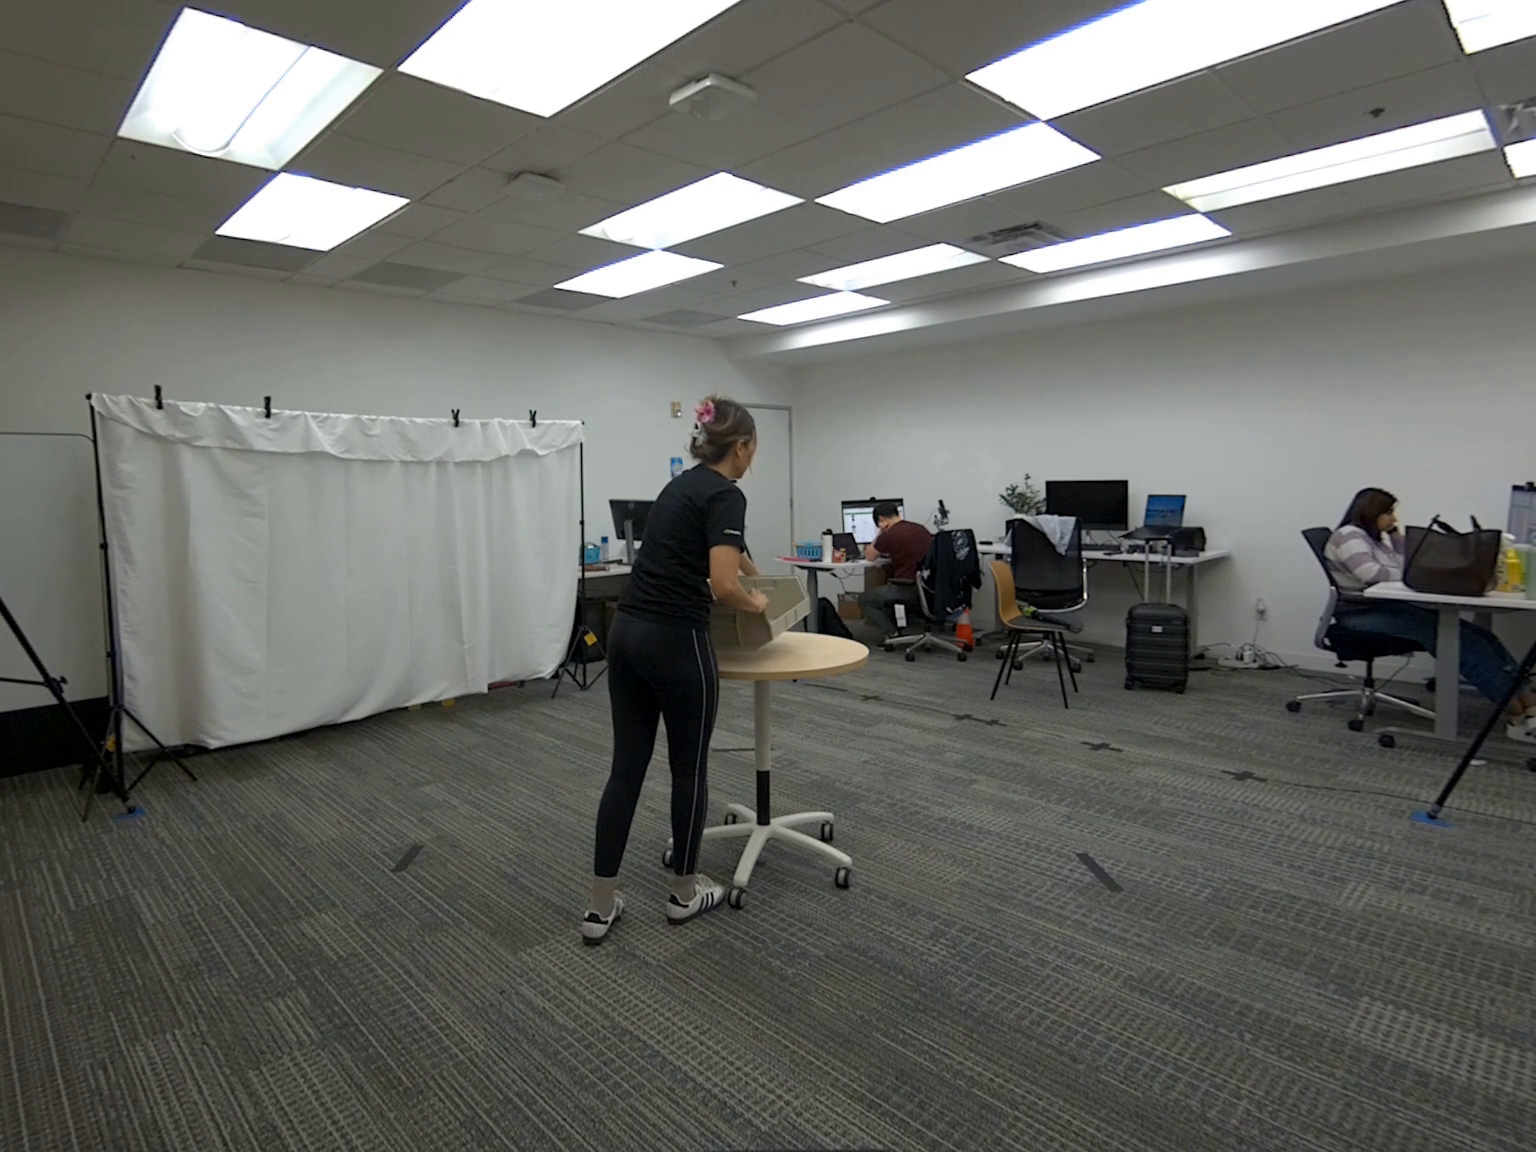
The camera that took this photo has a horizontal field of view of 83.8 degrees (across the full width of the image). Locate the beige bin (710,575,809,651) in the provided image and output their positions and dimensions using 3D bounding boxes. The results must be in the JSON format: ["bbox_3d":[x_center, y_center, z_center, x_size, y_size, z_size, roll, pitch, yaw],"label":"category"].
[{"bbox_3d":[-0.095,0.124,3.053,0.385,0.187,0.418,-3,10,22],"label":"beige bin"}]
